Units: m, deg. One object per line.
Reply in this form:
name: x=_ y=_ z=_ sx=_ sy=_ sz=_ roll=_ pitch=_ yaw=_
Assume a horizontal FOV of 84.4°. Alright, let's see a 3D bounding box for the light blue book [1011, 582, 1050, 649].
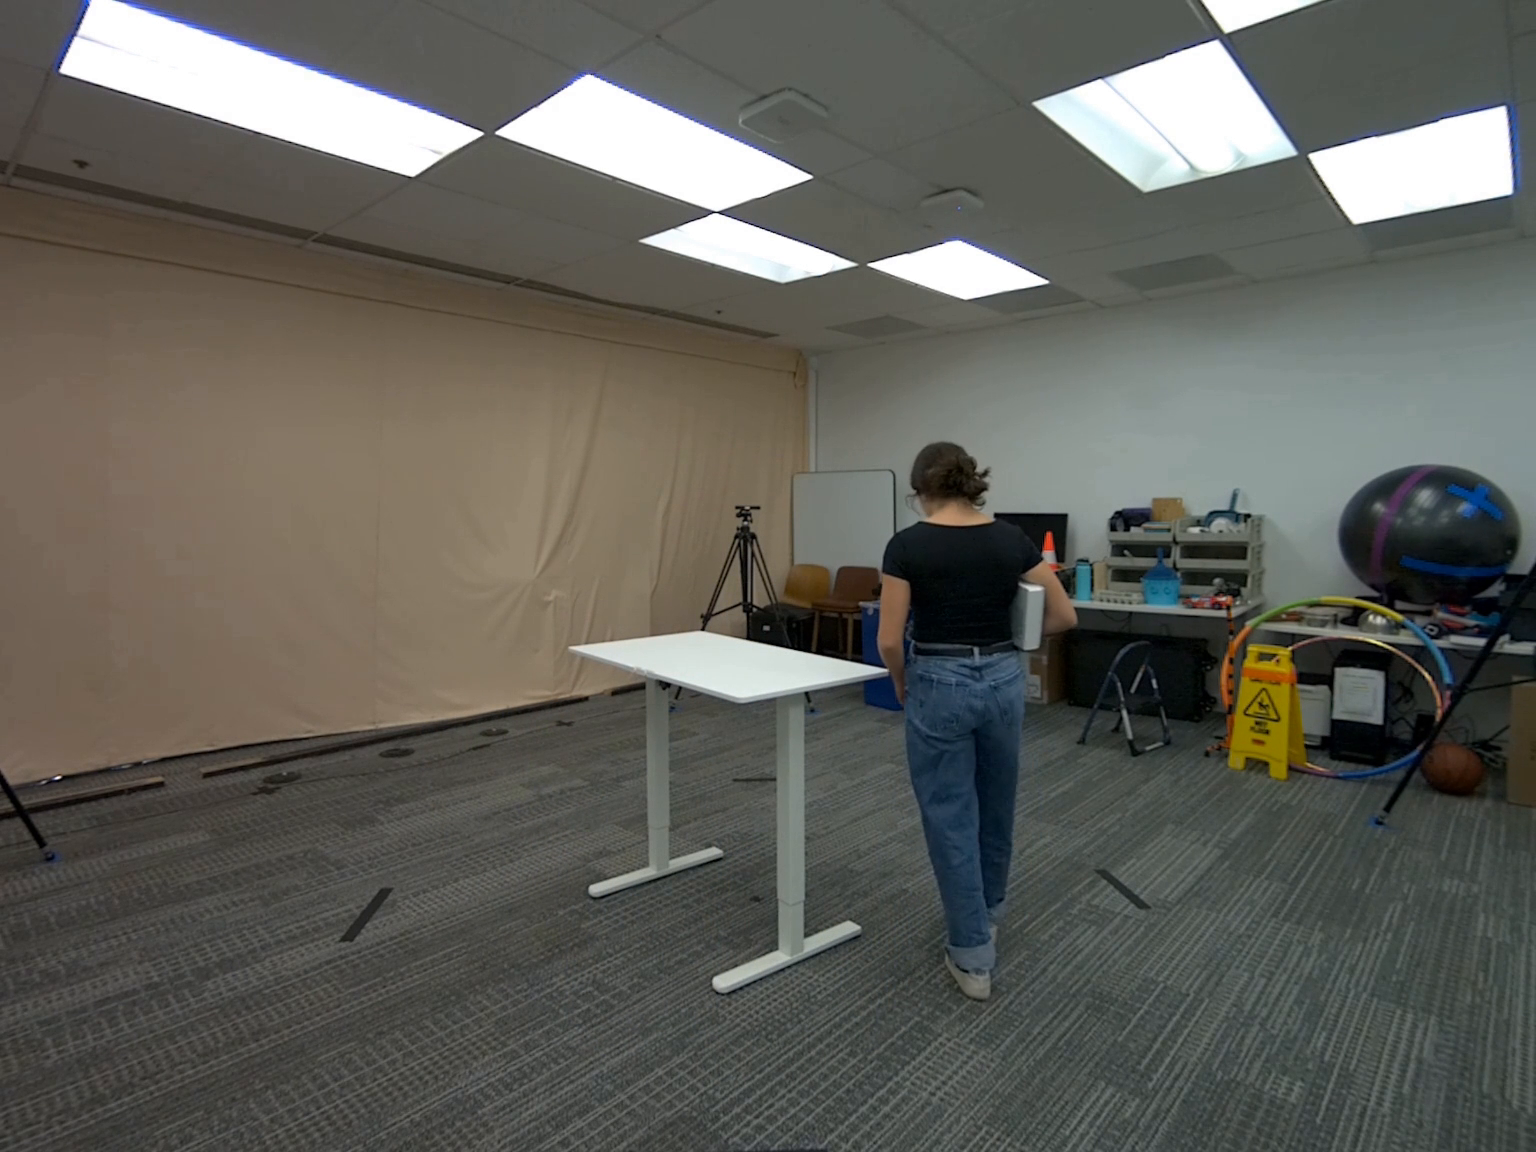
light blue book: x=0.716 y=0.072 z=2.471 sx=0.058 sy=0.189 sz=0.268 roll=-7 pitch=16 yaw=-17
